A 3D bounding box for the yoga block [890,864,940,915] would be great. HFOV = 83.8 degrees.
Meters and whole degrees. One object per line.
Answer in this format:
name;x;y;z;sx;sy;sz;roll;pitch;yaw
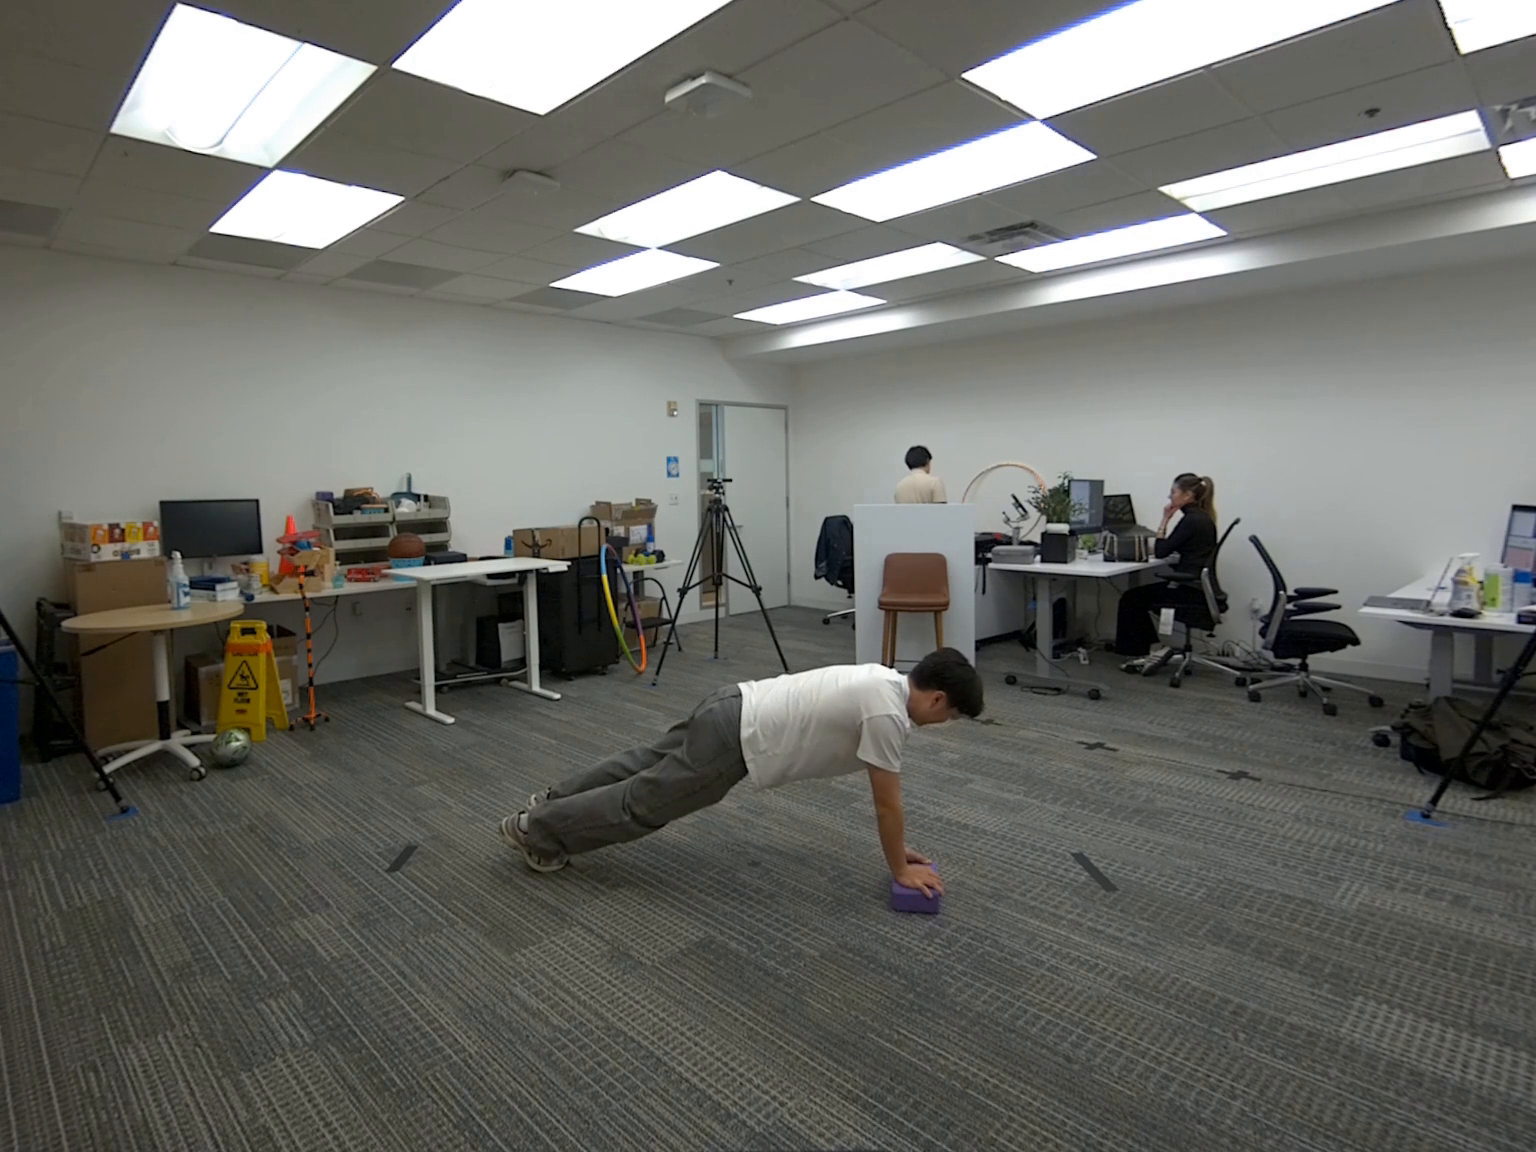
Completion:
yoga block;0.487;1.027;2.832;0.150;0.076;0.228;3;6;9
